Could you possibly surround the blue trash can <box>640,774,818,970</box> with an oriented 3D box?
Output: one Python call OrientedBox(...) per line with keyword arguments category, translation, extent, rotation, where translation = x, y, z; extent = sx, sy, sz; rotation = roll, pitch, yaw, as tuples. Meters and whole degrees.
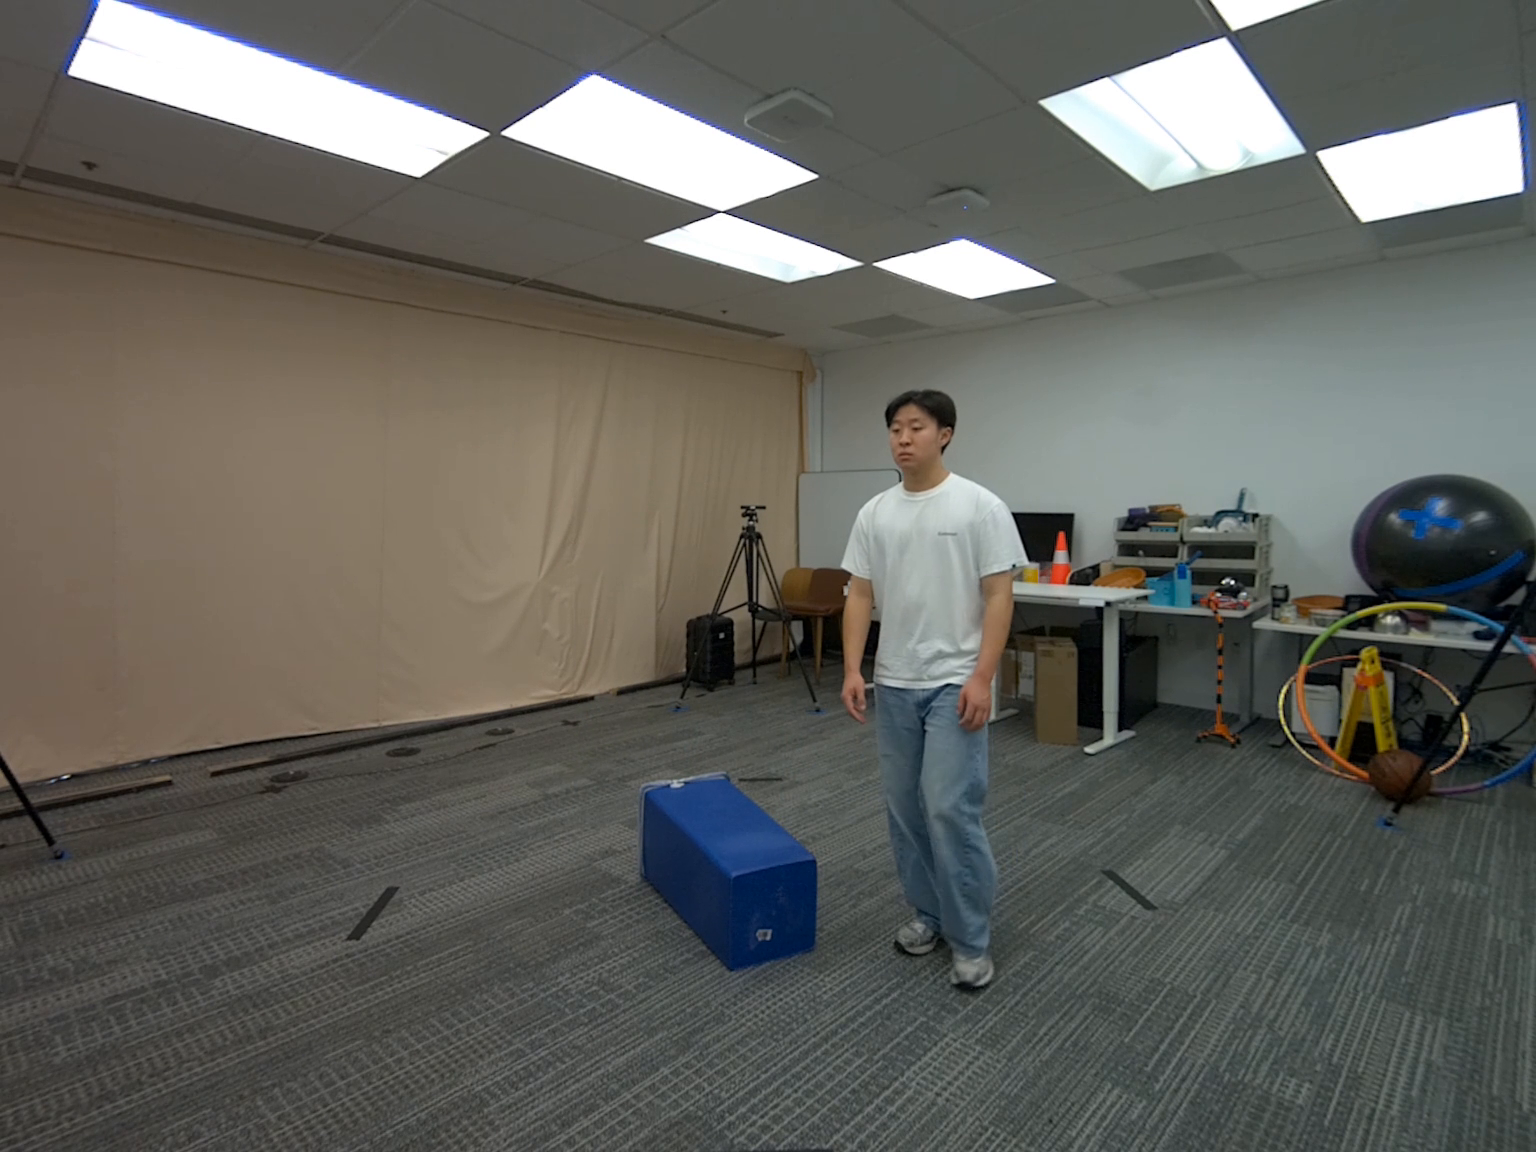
OrientedBox(category="blue trash can", translation=(-0.142, 0.988, 2.883), extent=(0.364, 0.377, 0.735), rotation=(-2, 7, -29))
